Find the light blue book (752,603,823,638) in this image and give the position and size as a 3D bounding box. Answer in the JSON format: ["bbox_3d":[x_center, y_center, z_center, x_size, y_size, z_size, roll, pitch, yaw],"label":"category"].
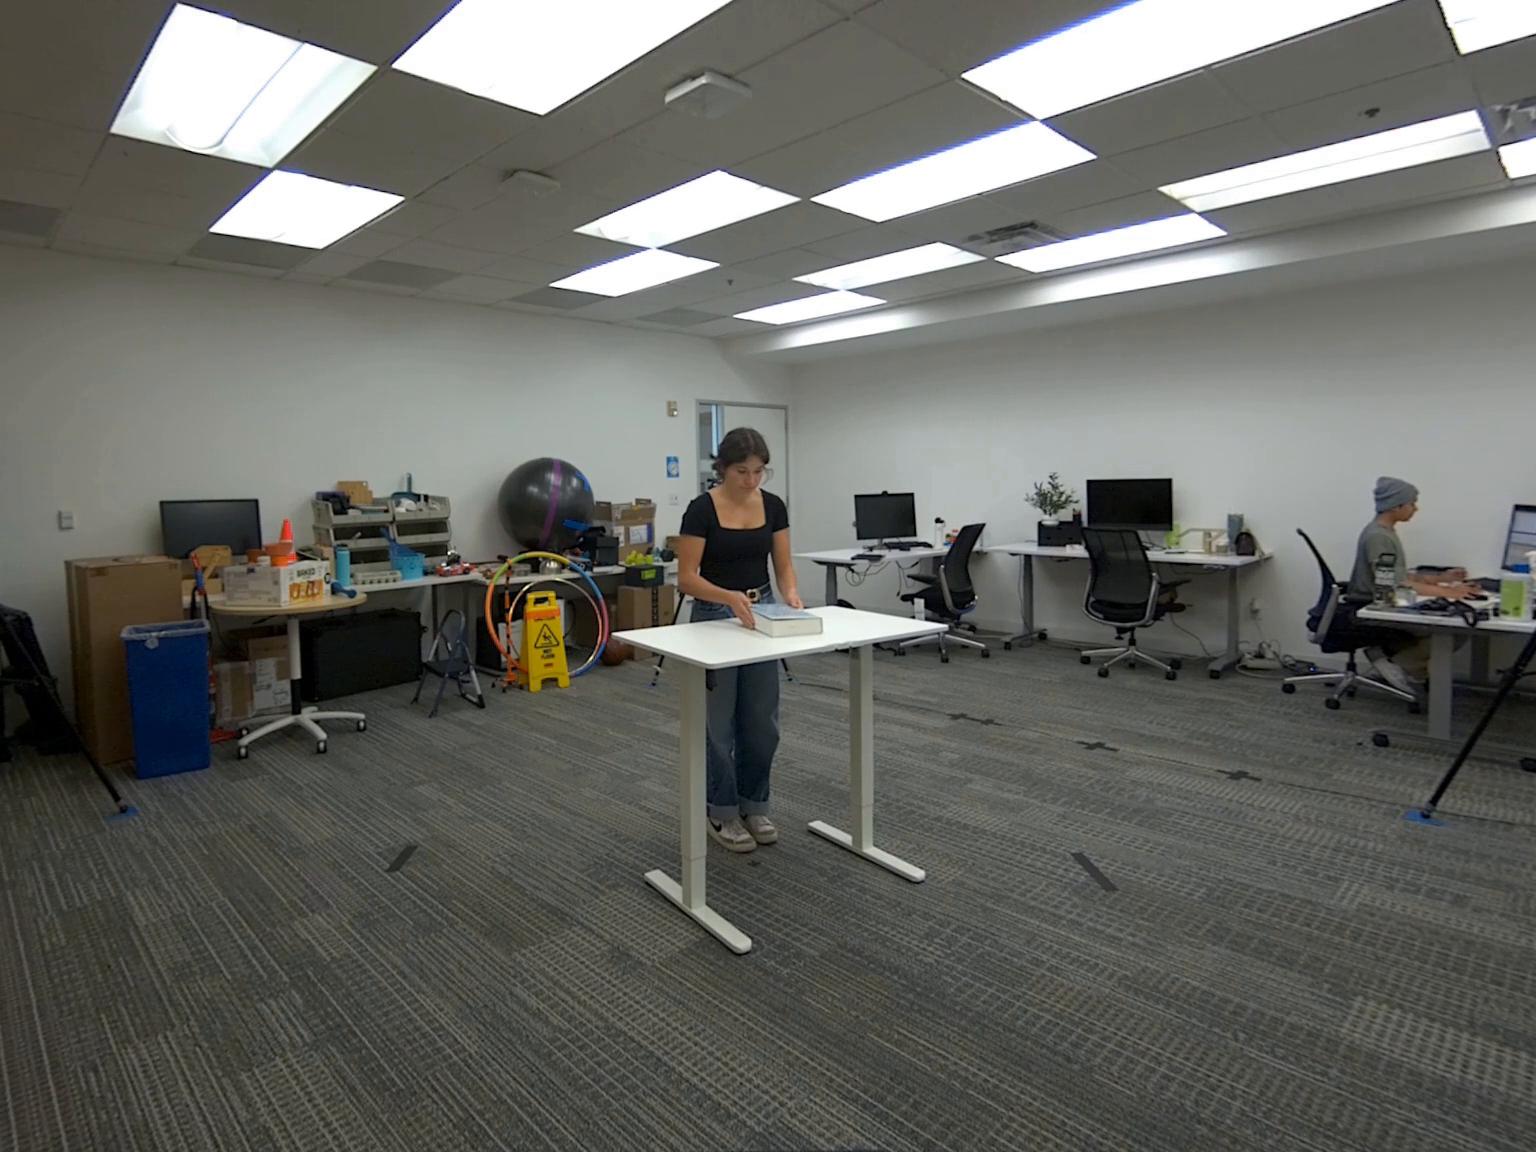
[{"bbox_3d":[0.037,0.152,2.906,0.187,0.059,0.268,-1,8,-25],"label":"light blue book"}]
